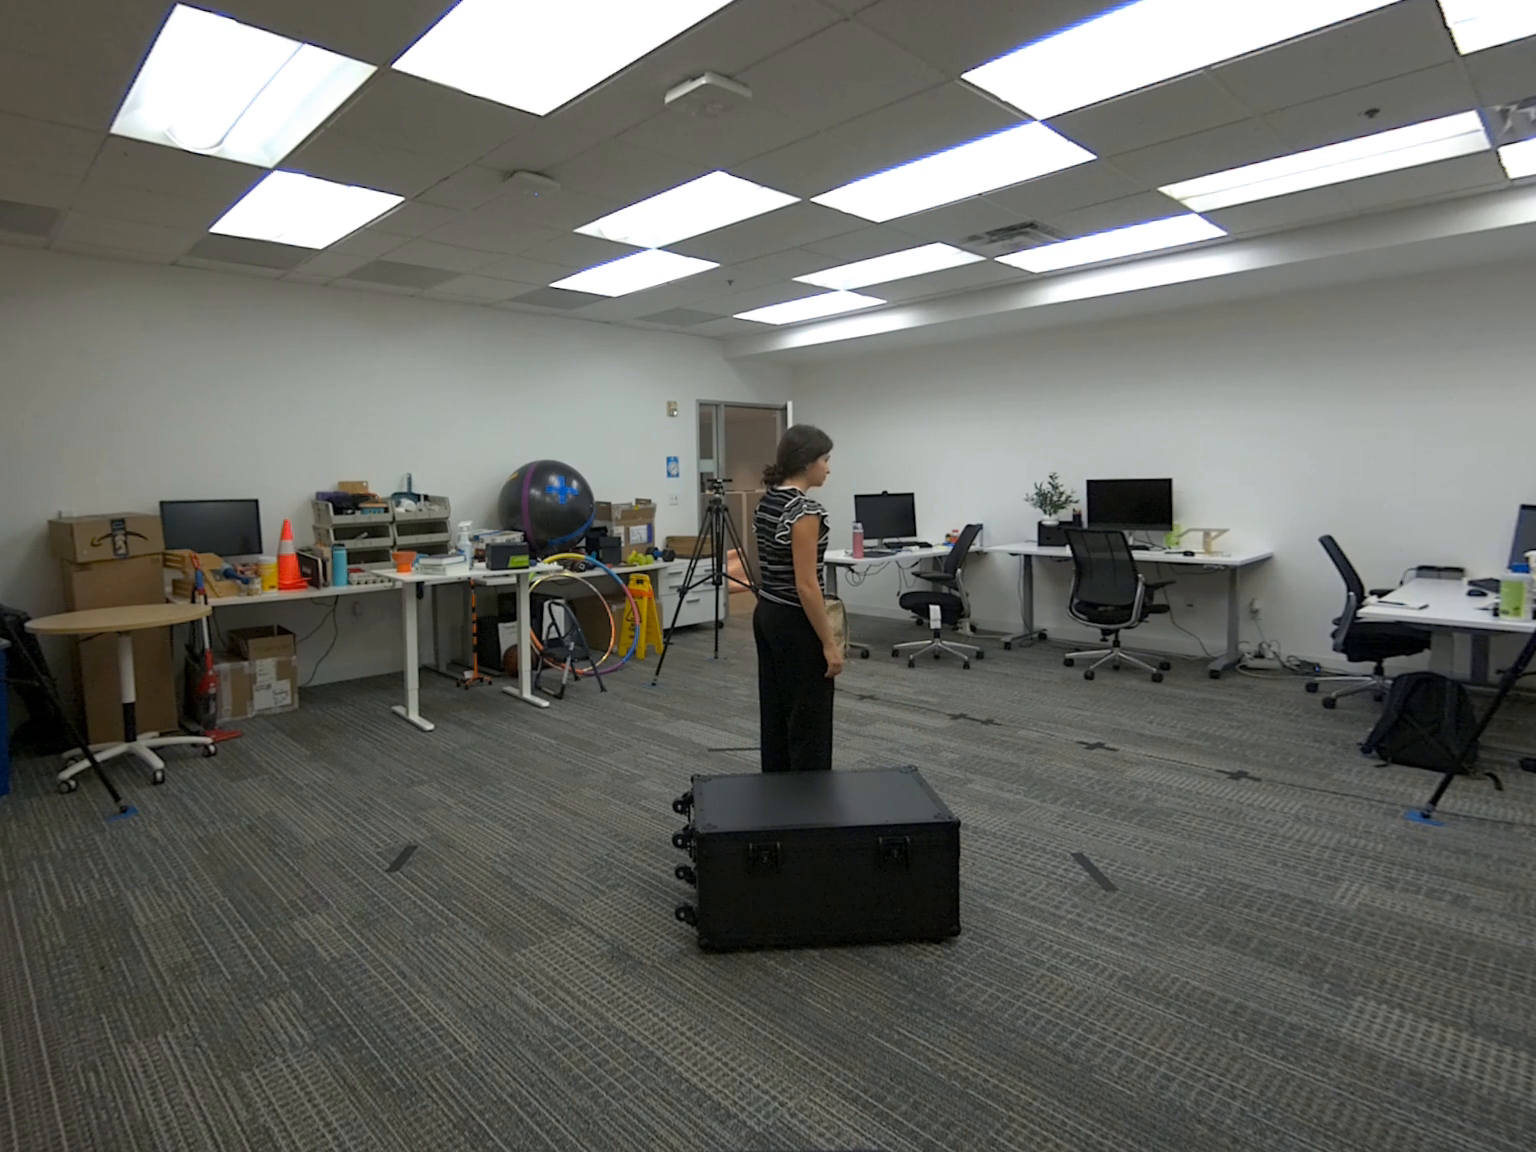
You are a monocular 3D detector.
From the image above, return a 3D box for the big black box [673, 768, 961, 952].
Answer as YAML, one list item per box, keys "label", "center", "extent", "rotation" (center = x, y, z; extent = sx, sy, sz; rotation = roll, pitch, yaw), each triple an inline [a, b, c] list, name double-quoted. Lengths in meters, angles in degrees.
- label: "big black box"
  center: [0.124, 0.890, 2.752]
  extent: [0.858, 0.395, 0.525]
  rotation: [-1, 5, -4]
